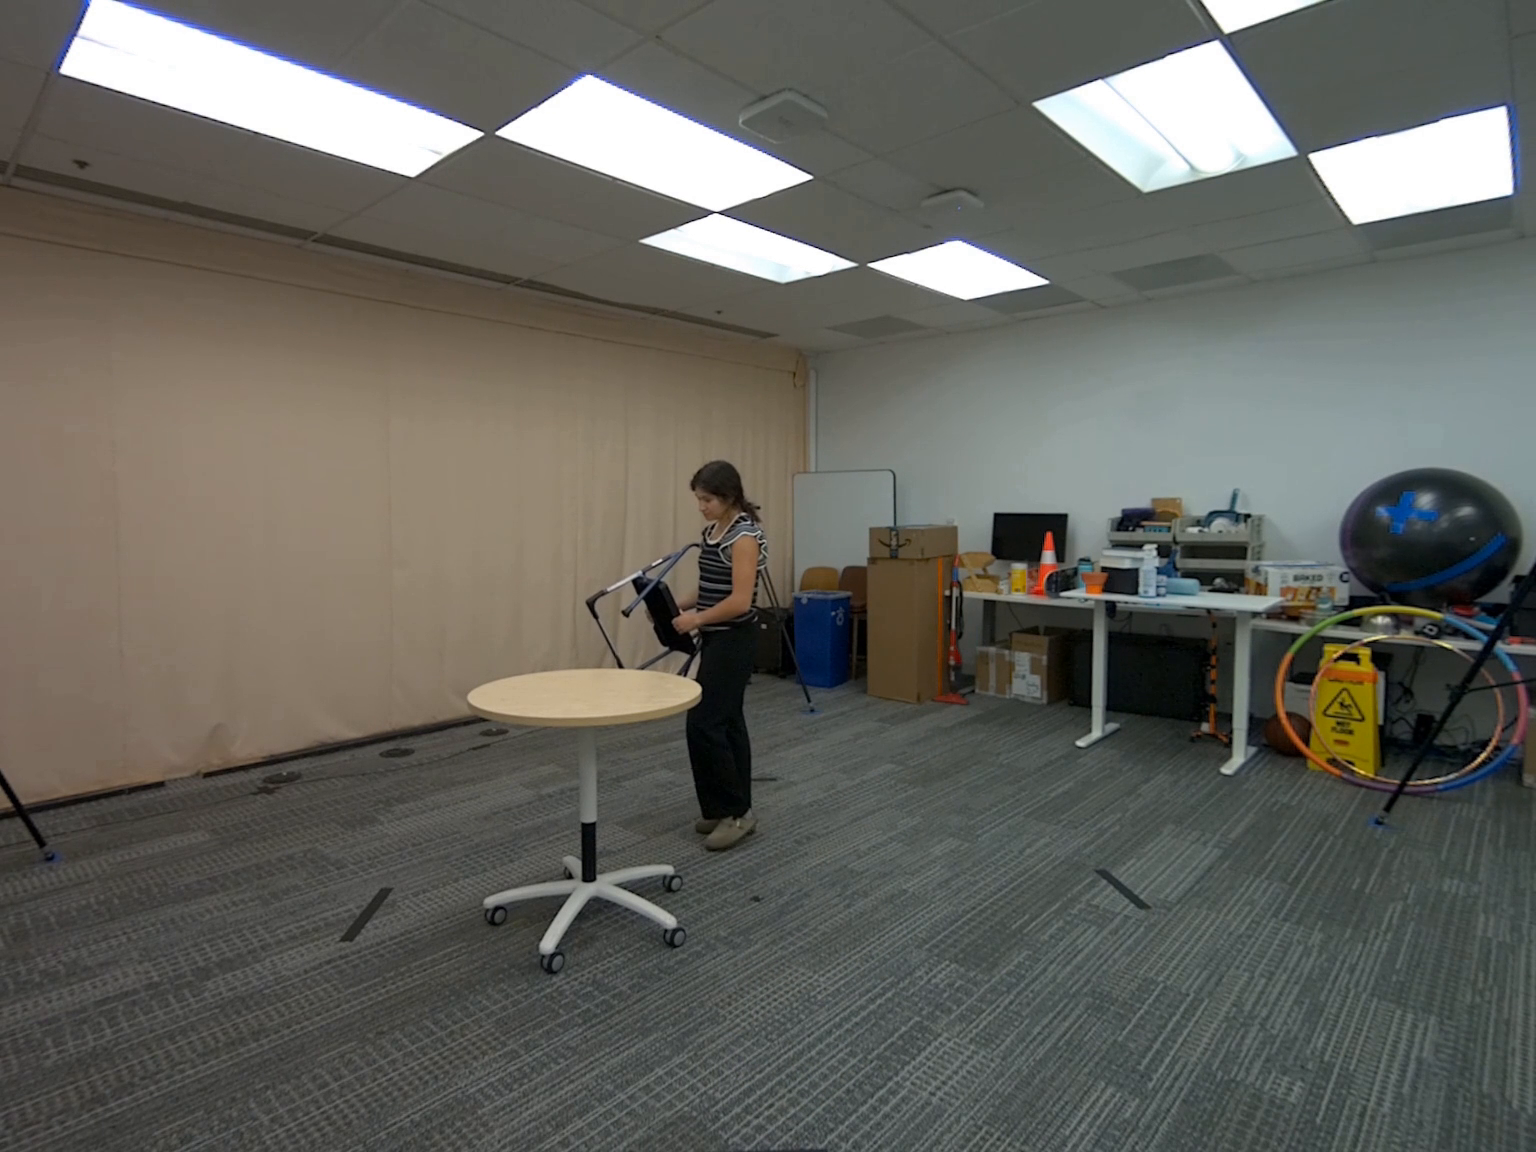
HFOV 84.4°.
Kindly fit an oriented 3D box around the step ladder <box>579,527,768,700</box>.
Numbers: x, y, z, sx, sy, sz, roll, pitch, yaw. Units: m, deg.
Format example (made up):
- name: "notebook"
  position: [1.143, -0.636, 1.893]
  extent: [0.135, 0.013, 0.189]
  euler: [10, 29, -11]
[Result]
- name: "step ladder"
  position: [-0.398, 0.137, 3.626]
  extent: [0.598, 0.422, 0.361]
  euler: [-37, 27, -31]
